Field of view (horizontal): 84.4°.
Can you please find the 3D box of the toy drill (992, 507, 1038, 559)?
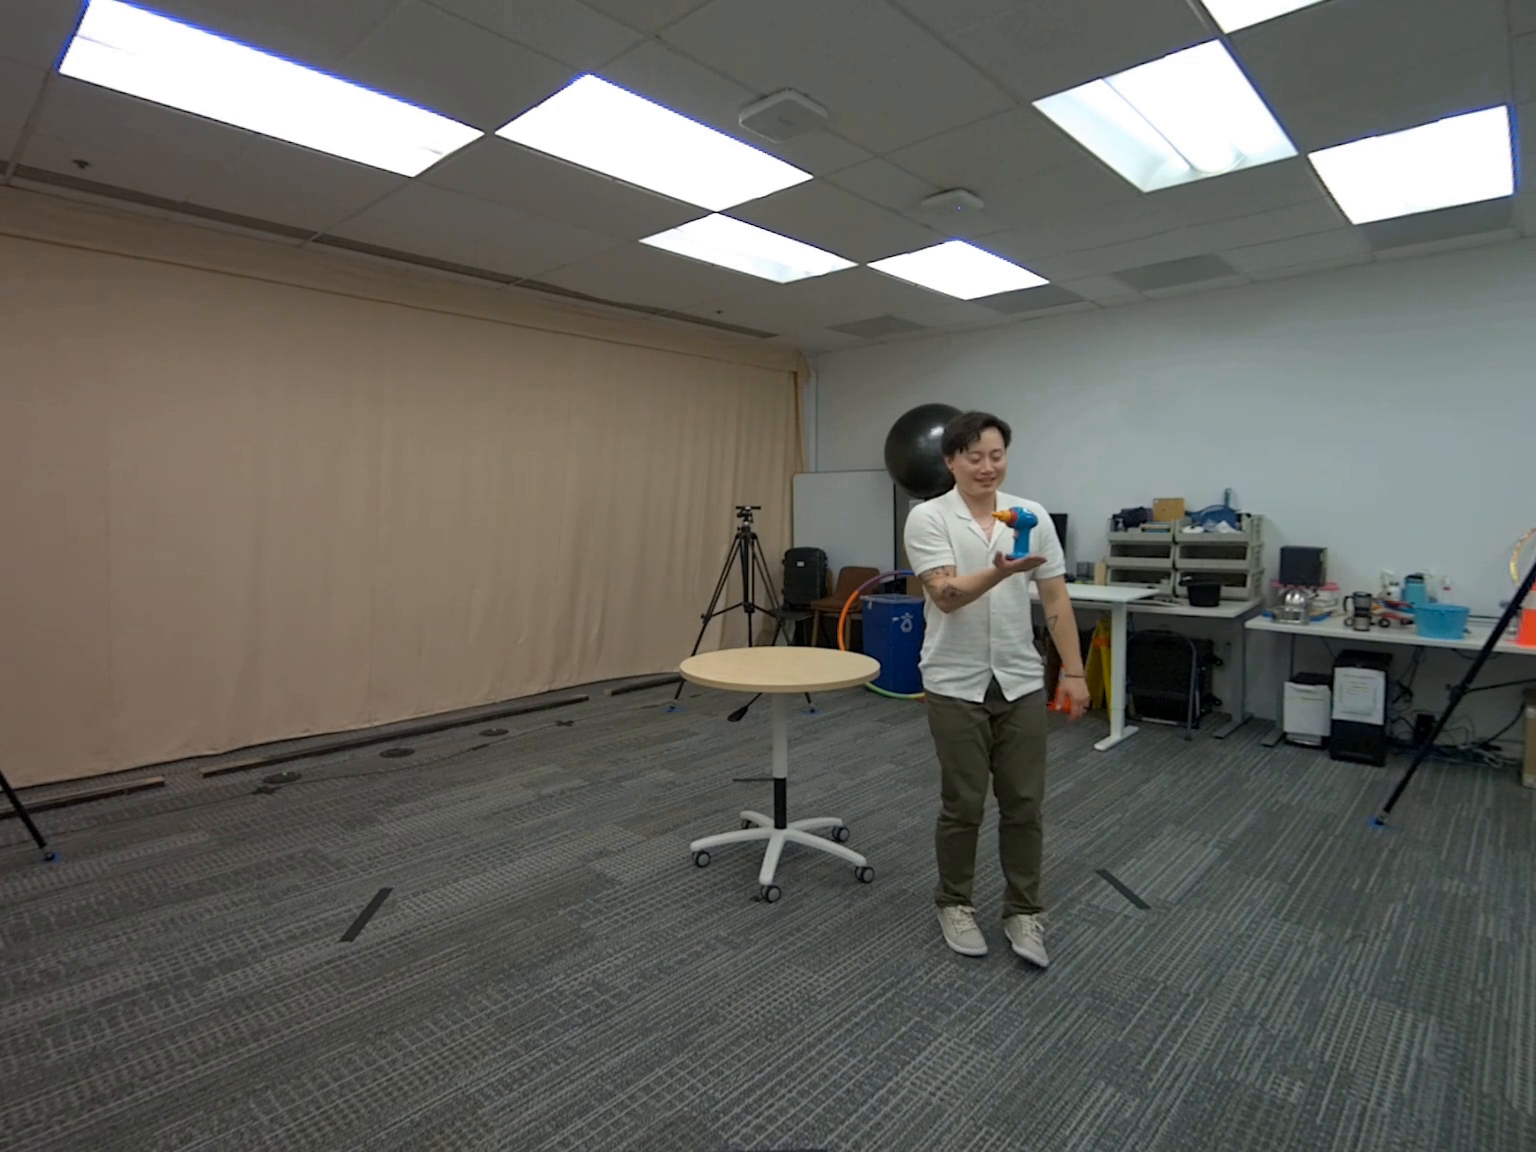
[{"bbox_3d":[0.655,-0.117,2.274,0.165,0.146,0.063,7,1,-30],"label":"toy drill"}]
